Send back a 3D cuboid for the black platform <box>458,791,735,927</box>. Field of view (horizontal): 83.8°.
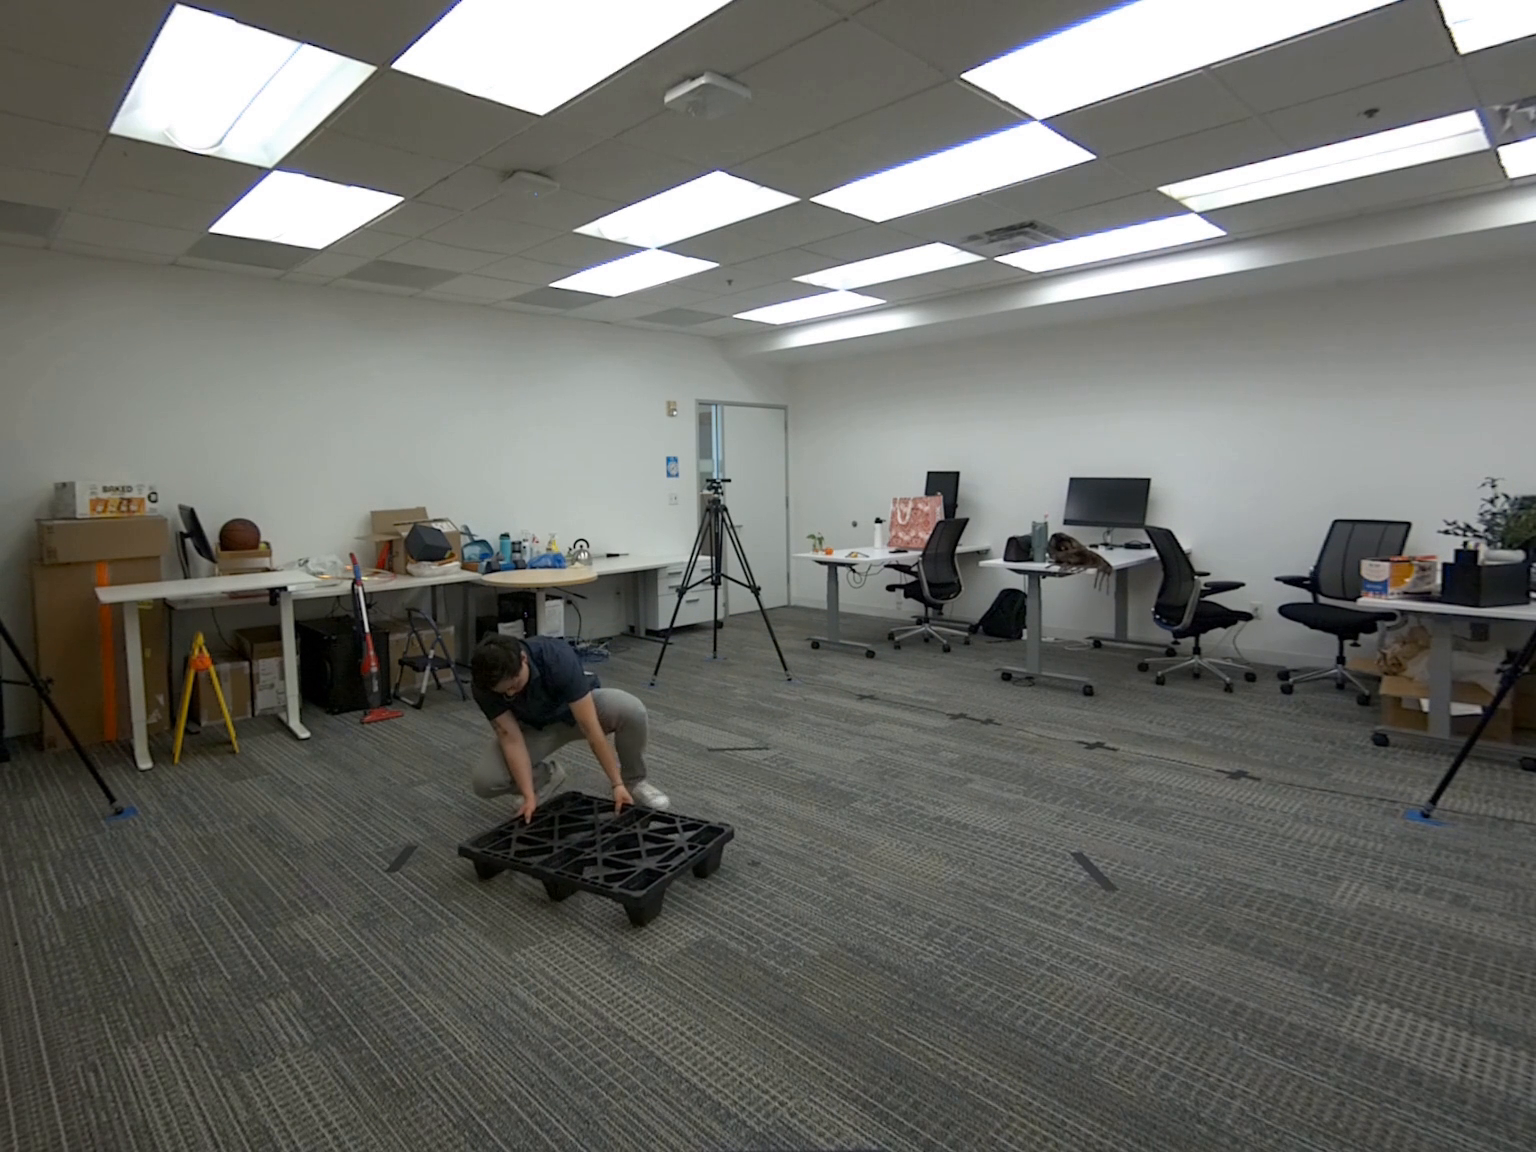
[{"bbox_3d":[-0.599,0.992,3.042,0.826,0.142,0.593,2,8,29],"label":"black platform"}]
